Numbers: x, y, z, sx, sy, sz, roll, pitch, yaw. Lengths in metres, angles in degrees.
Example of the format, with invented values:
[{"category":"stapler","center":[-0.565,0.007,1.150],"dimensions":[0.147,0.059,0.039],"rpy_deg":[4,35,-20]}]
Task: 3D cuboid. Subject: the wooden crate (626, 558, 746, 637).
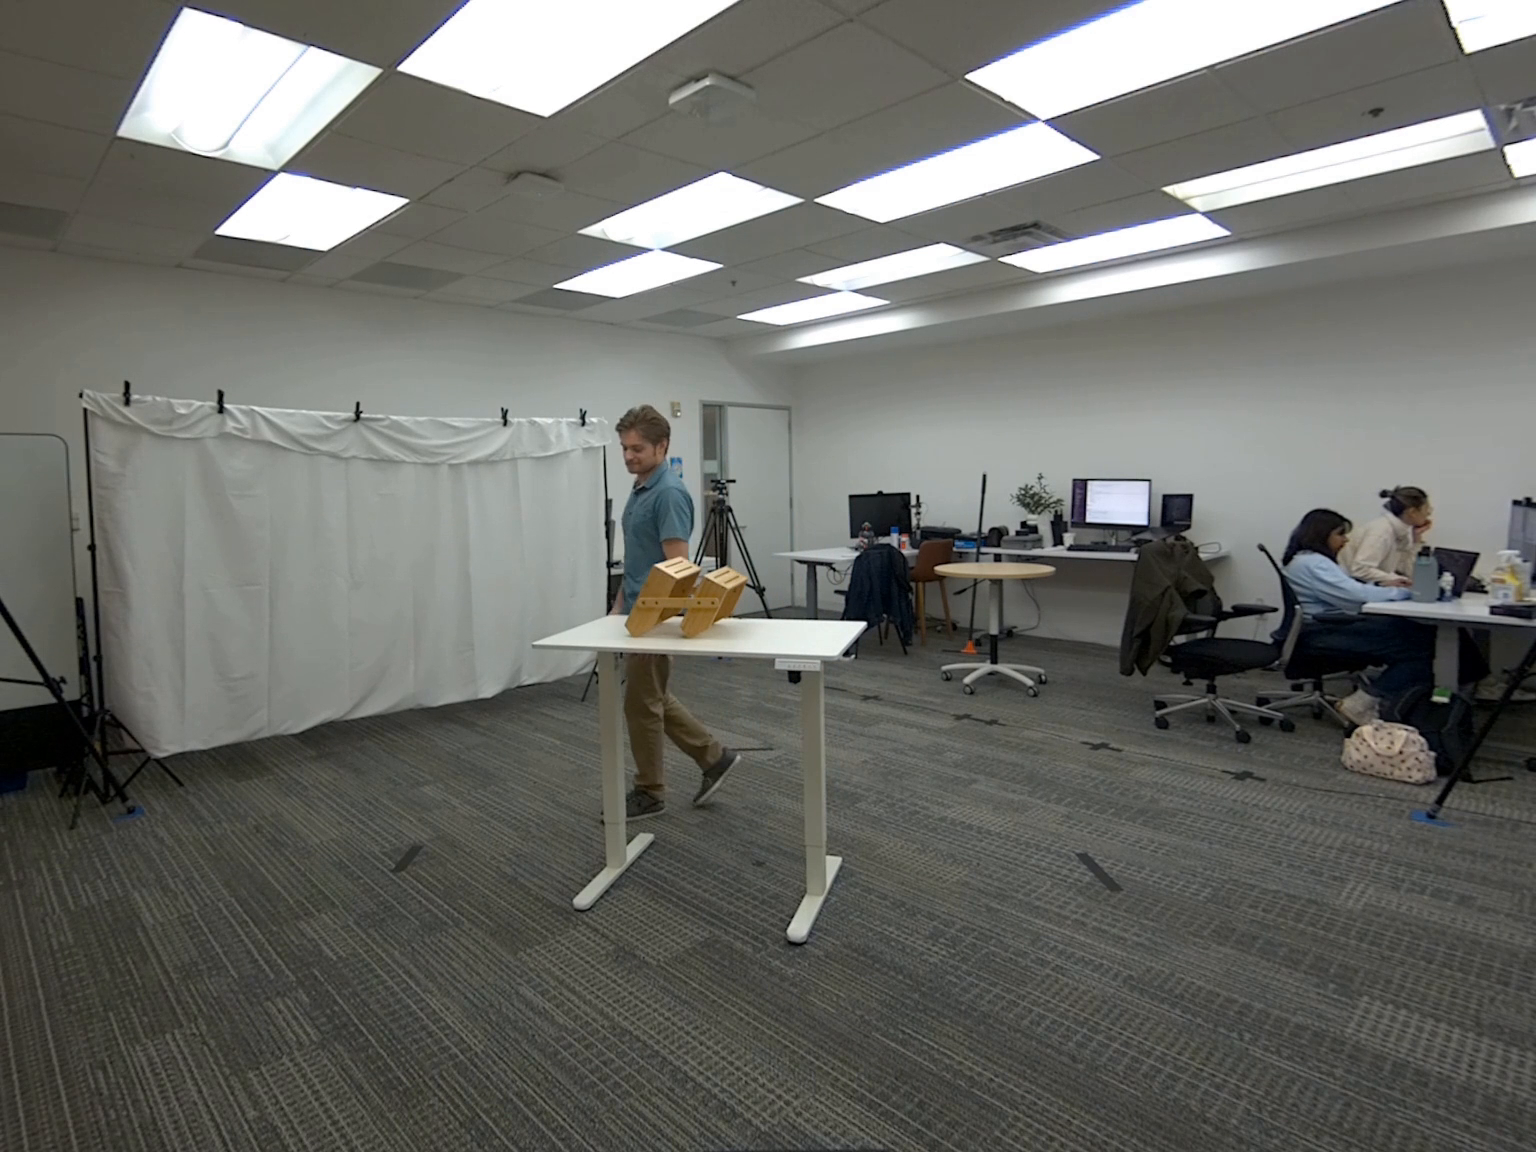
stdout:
[{"category":"wooden crate","center":[-0.266,0.100,2.931],"dimensions":[0.277,0.300,0.322],"rpy_deg":[27,11,9]}]
